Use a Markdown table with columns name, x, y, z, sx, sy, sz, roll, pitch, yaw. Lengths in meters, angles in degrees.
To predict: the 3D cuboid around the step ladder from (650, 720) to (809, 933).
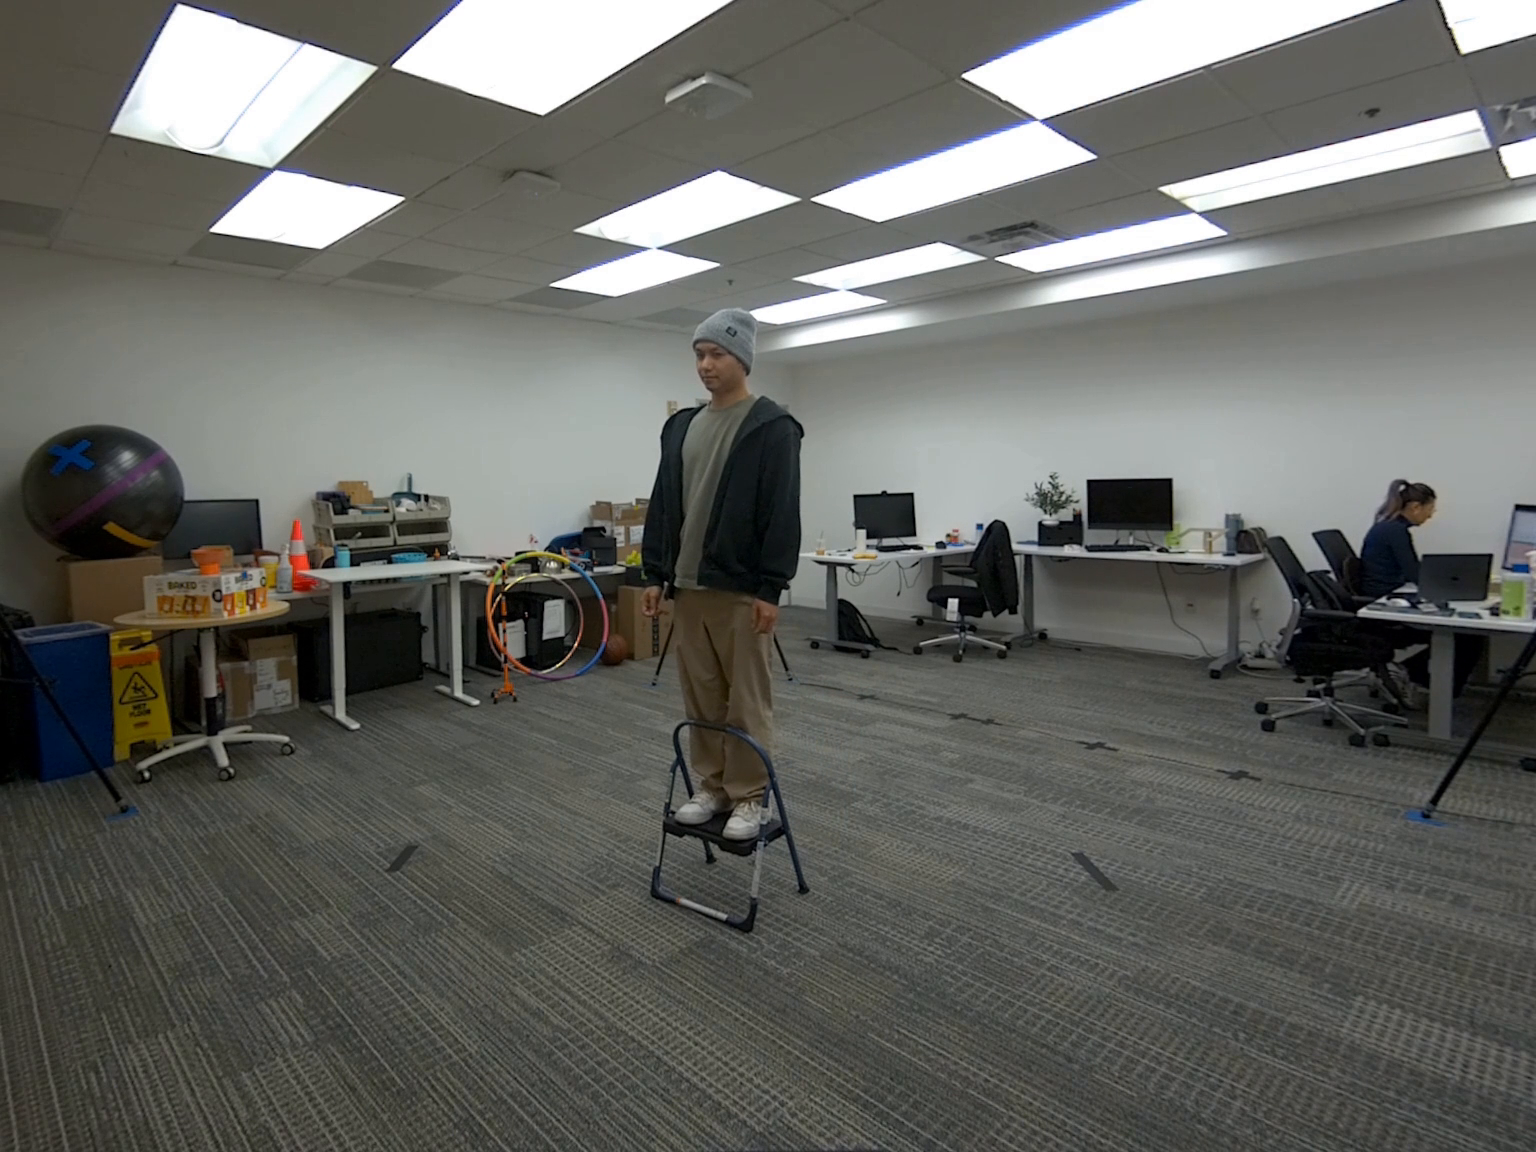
| name | x | y | z | sx | sy | sz | roll | pitch | yaw |
| --- | --- | --- | --- | --- | --- | --- | --- | --- | --- |
| step ladder | -0.136 | 0.772 | 2.864 | 0.443 | 0.603 | 0.341 | 2 | 6 | 35 |
